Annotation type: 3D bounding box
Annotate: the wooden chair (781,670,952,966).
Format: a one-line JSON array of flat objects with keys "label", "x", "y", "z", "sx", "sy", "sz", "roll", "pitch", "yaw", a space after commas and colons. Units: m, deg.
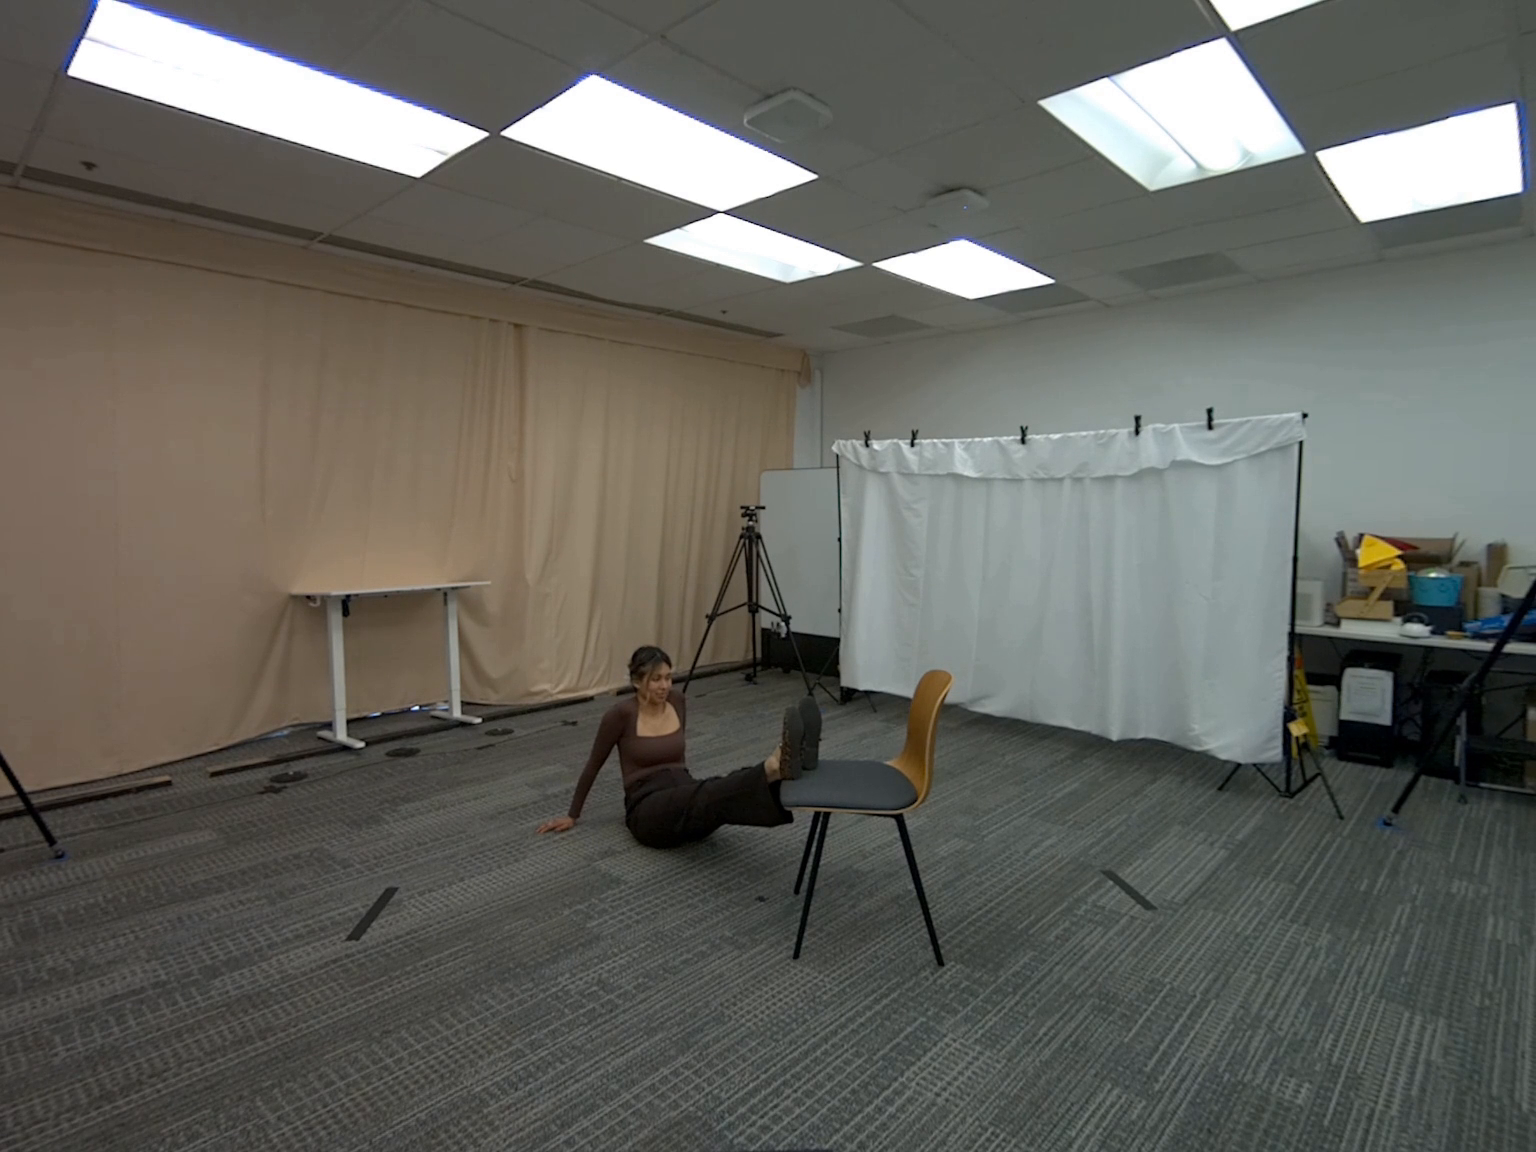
[{"label": "wooden chair", "x": 0.311, "y": 0.735, "z": 2.755, "sx": 0.526, "sy": 0.875, "sz": 0.476, "roll": 4, "pitch": 3, "yaw": 4}]
